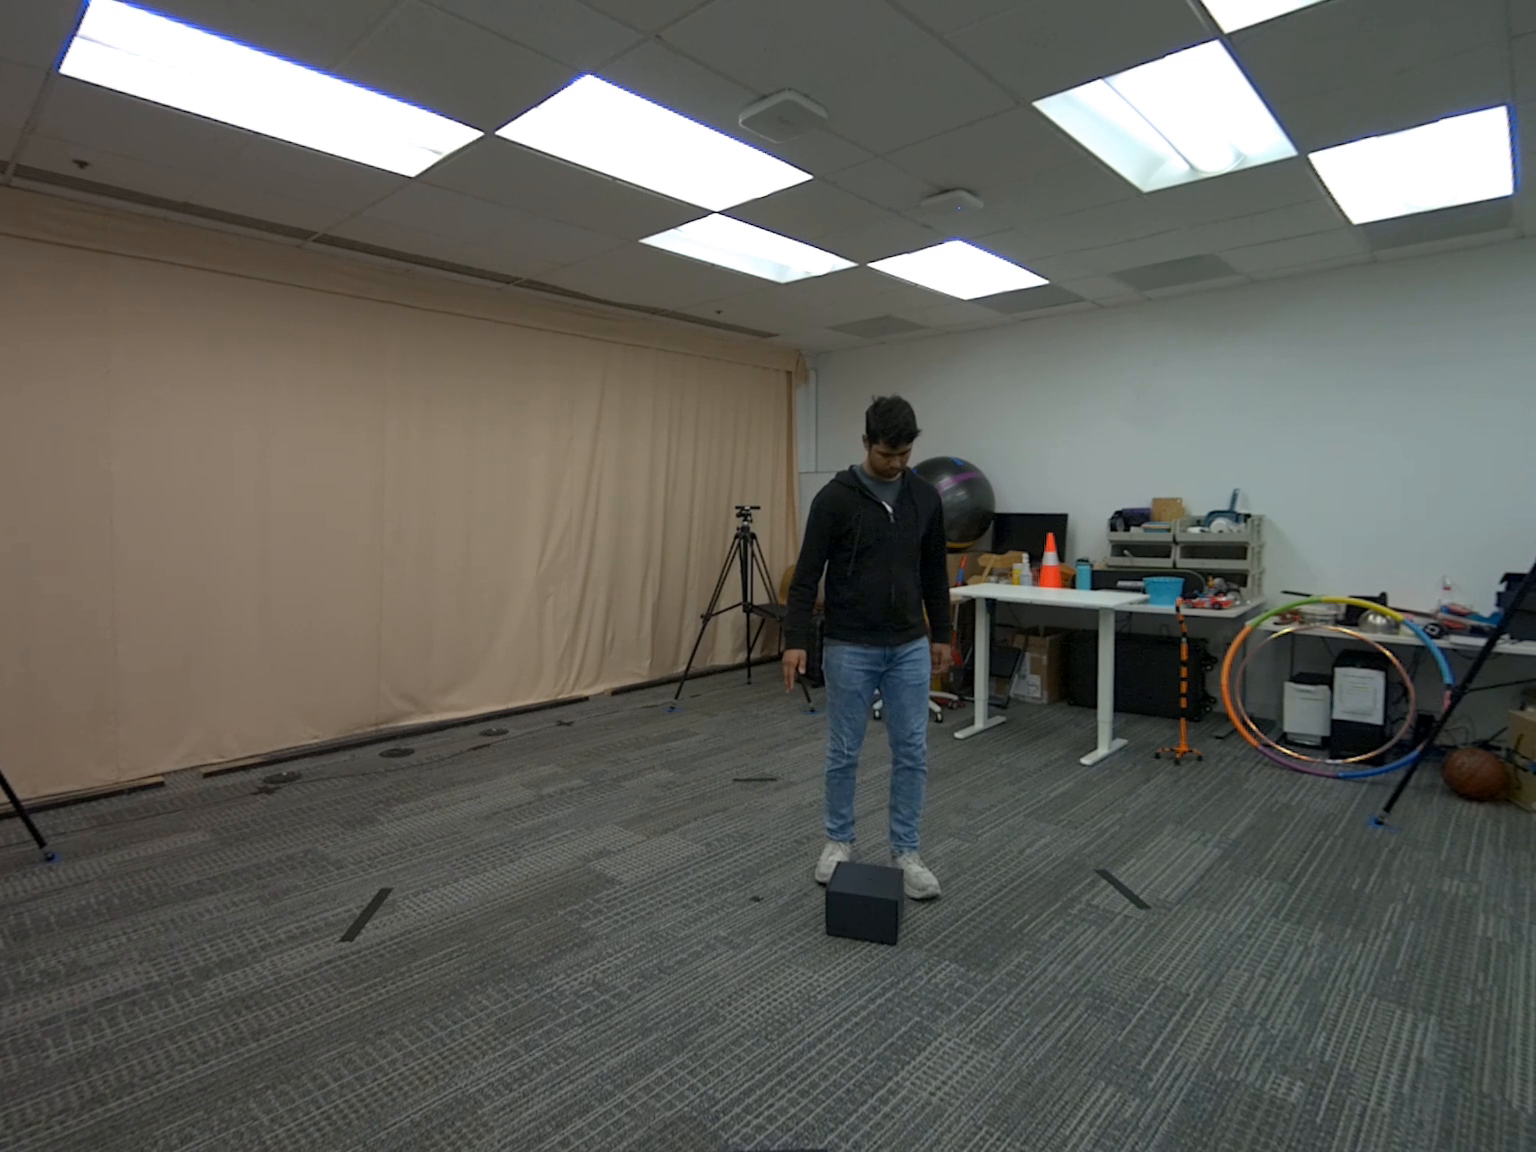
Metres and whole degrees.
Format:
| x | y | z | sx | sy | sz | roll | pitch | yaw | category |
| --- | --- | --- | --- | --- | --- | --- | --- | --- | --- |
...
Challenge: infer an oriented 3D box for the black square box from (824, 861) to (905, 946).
| x | y | z | sx | sy | sz | roll | pitch | yaw | category |
| --- | --- | --- | --- | --- | --- | --- | --- | --- | --- |
| 0.337 | 1.070 | 2.792 | 0.232 | 0.155 | 0.213 | 2 | 6 | 17 | black square box |
